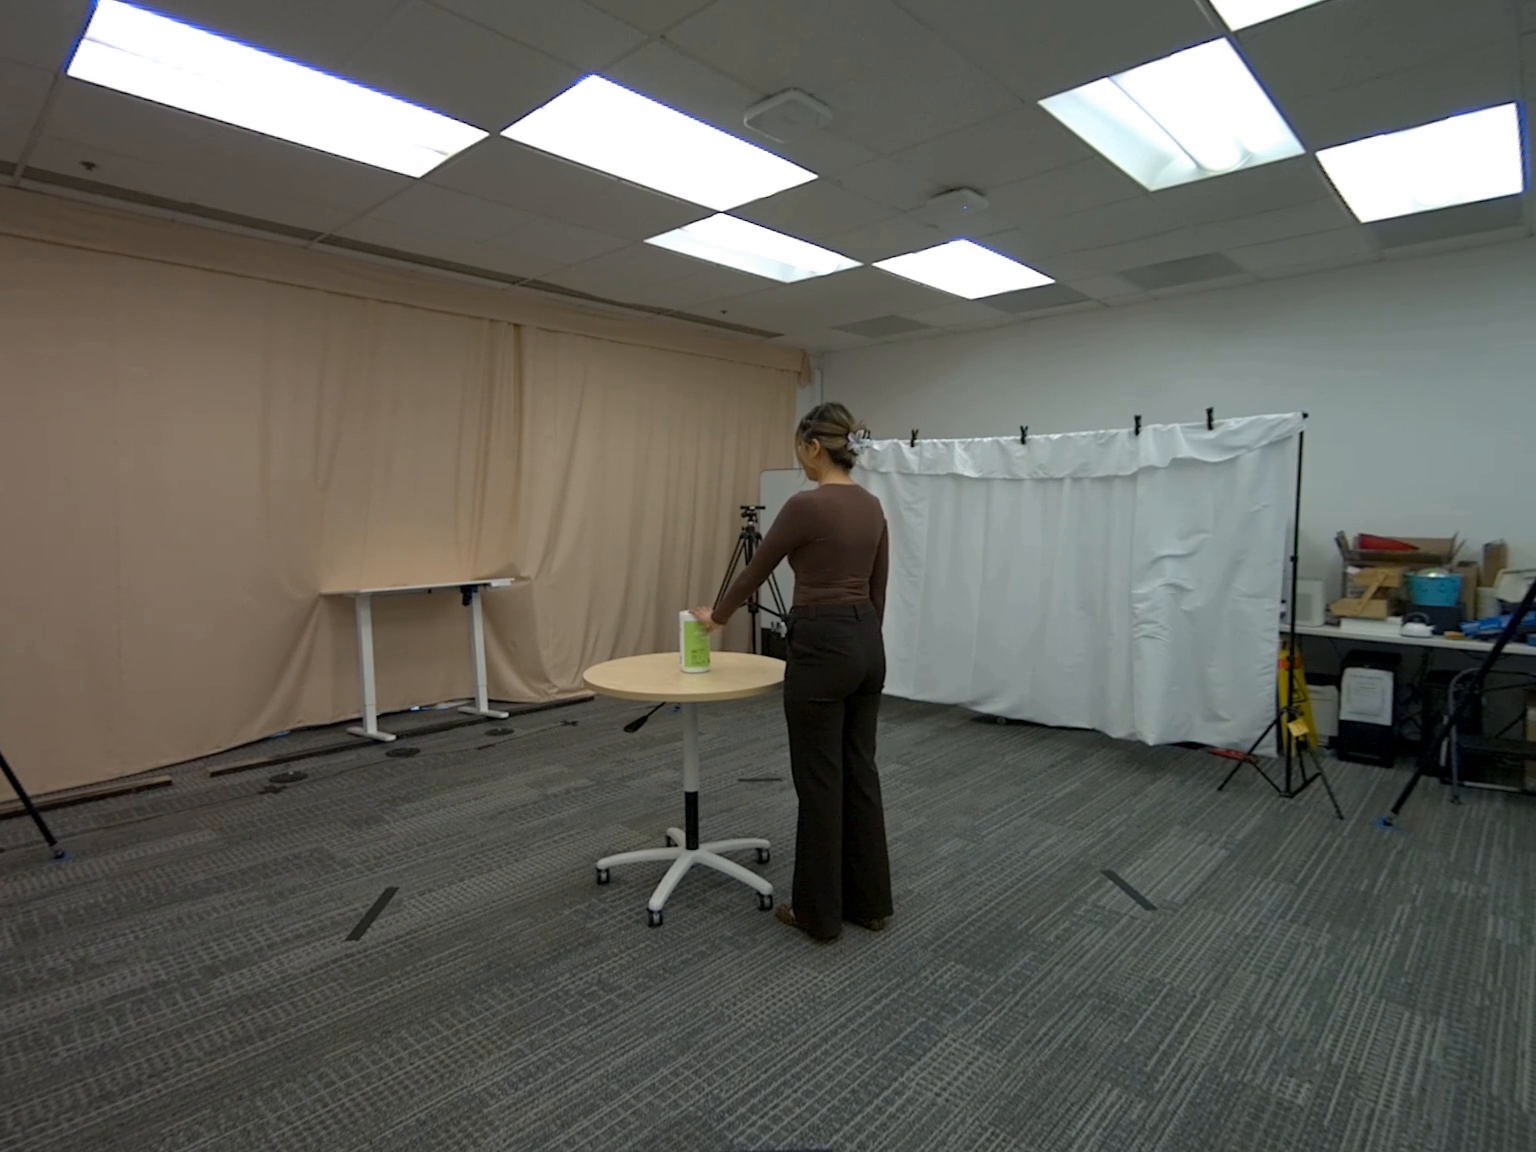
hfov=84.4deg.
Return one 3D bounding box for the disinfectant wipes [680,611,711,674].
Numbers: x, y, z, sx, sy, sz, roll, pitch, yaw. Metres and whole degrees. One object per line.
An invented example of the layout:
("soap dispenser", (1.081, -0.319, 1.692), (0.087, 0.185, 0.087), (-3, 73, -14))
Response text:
("disinfectant wipes", (-0.265, 0.237, 3.043), (0.118, 0.217, 0.118), (1, 4, -2))
